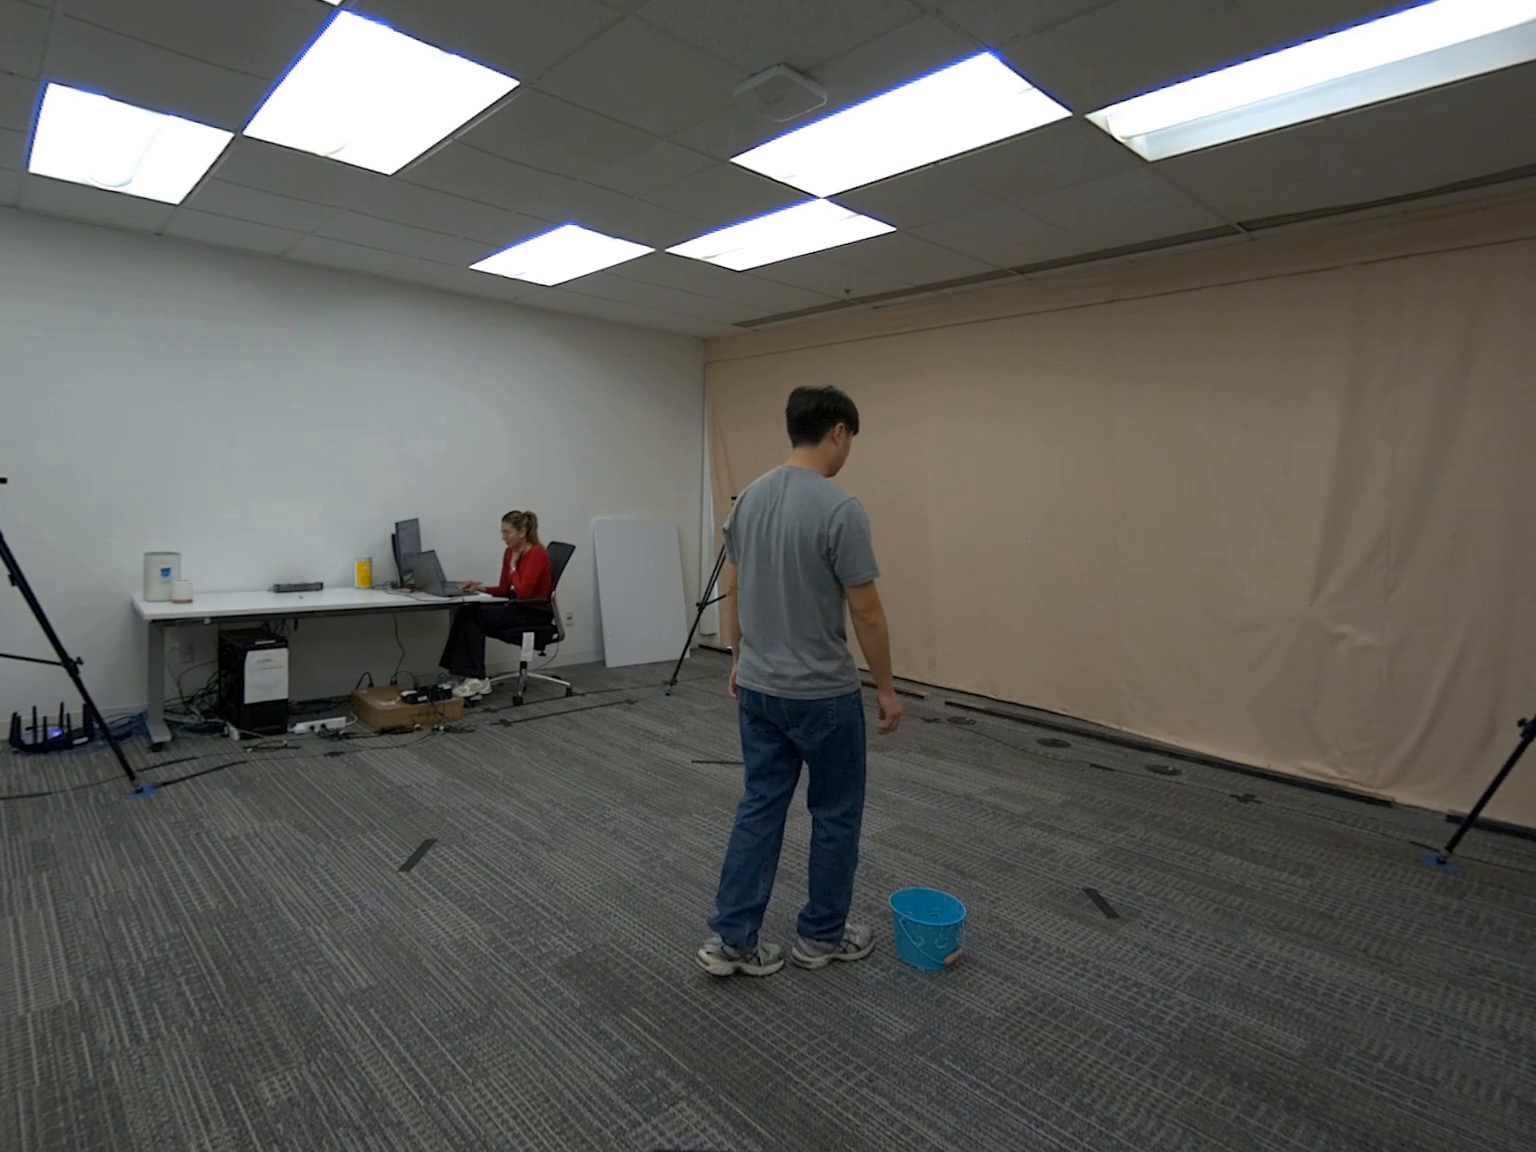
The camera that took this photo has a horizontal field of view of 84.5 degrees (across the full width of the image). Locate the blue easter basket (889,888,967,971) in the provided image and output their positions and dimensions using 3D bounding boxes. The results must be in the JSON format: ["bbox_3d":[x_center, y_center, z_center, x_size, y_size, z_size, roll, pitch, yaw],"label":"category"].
[{"bbox_3d":[0.478,1.087,2.595,0.243,0.155,0.244,1,5,-1],"label":"blue easter basket"}]
